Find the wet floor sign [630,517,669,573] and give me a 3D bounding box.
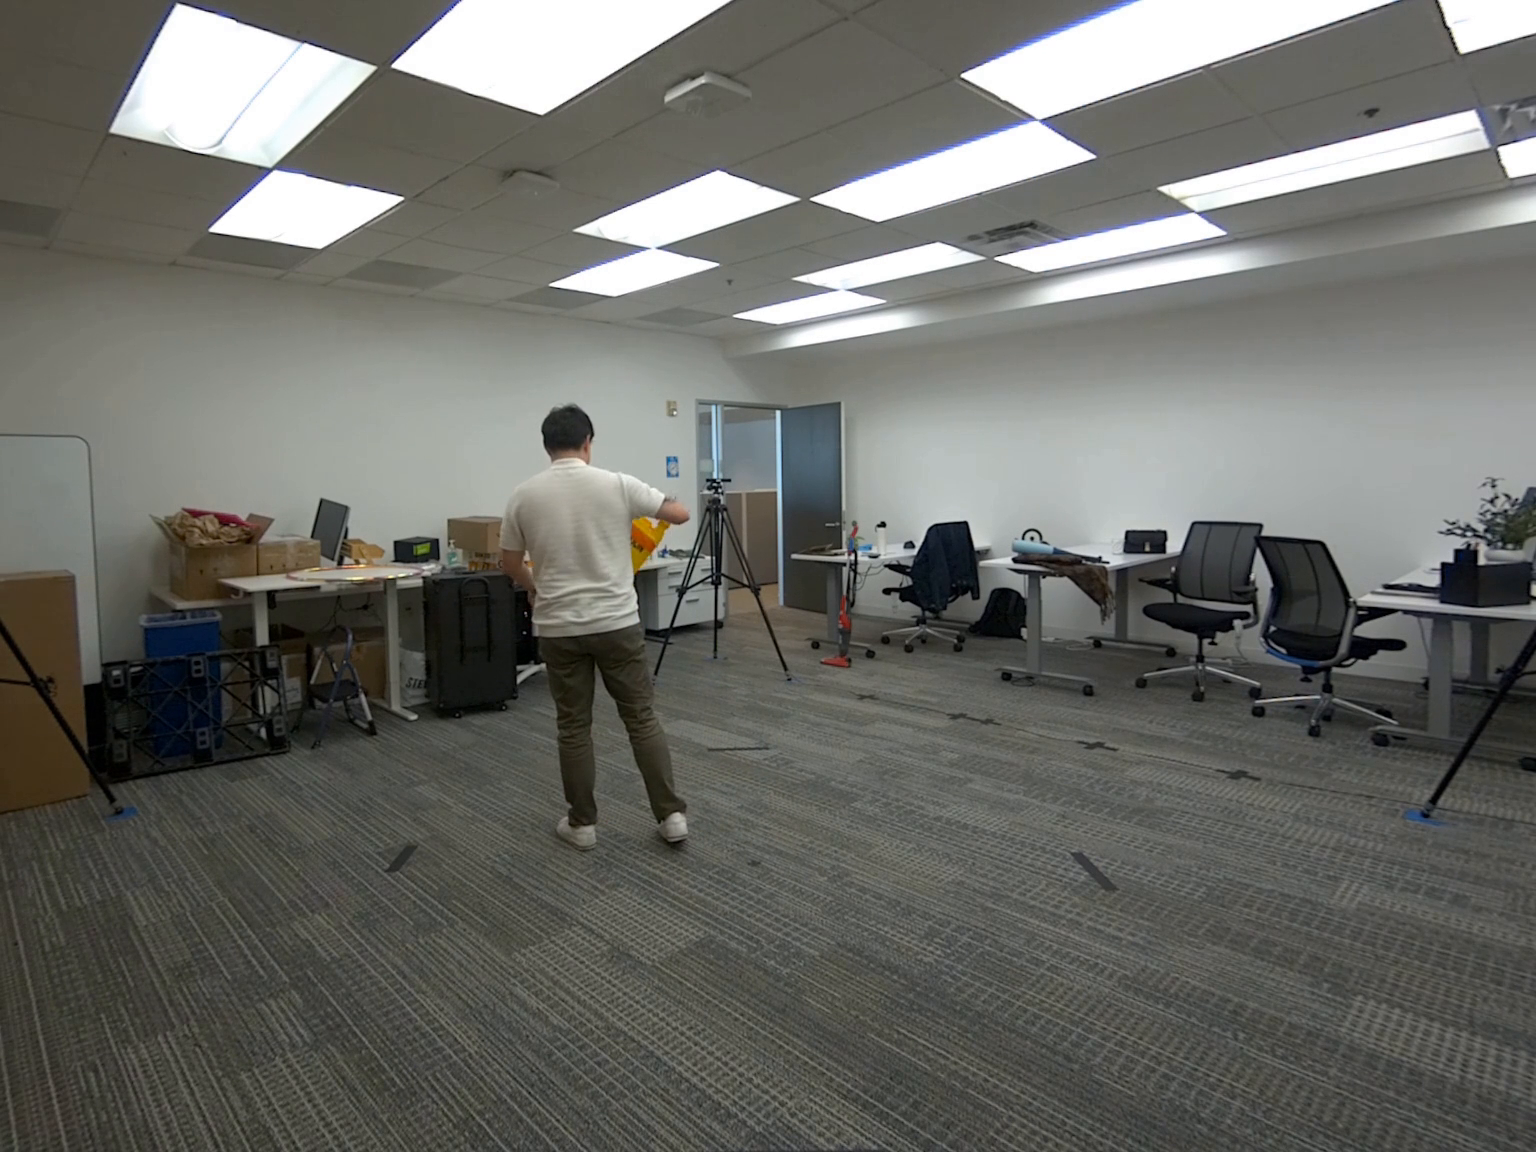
[{"bbox_3d":[-0.679,-0.083,3.732,0.279,0.645,0.294,37,27,-11],"label":"wet floor sign"}]
